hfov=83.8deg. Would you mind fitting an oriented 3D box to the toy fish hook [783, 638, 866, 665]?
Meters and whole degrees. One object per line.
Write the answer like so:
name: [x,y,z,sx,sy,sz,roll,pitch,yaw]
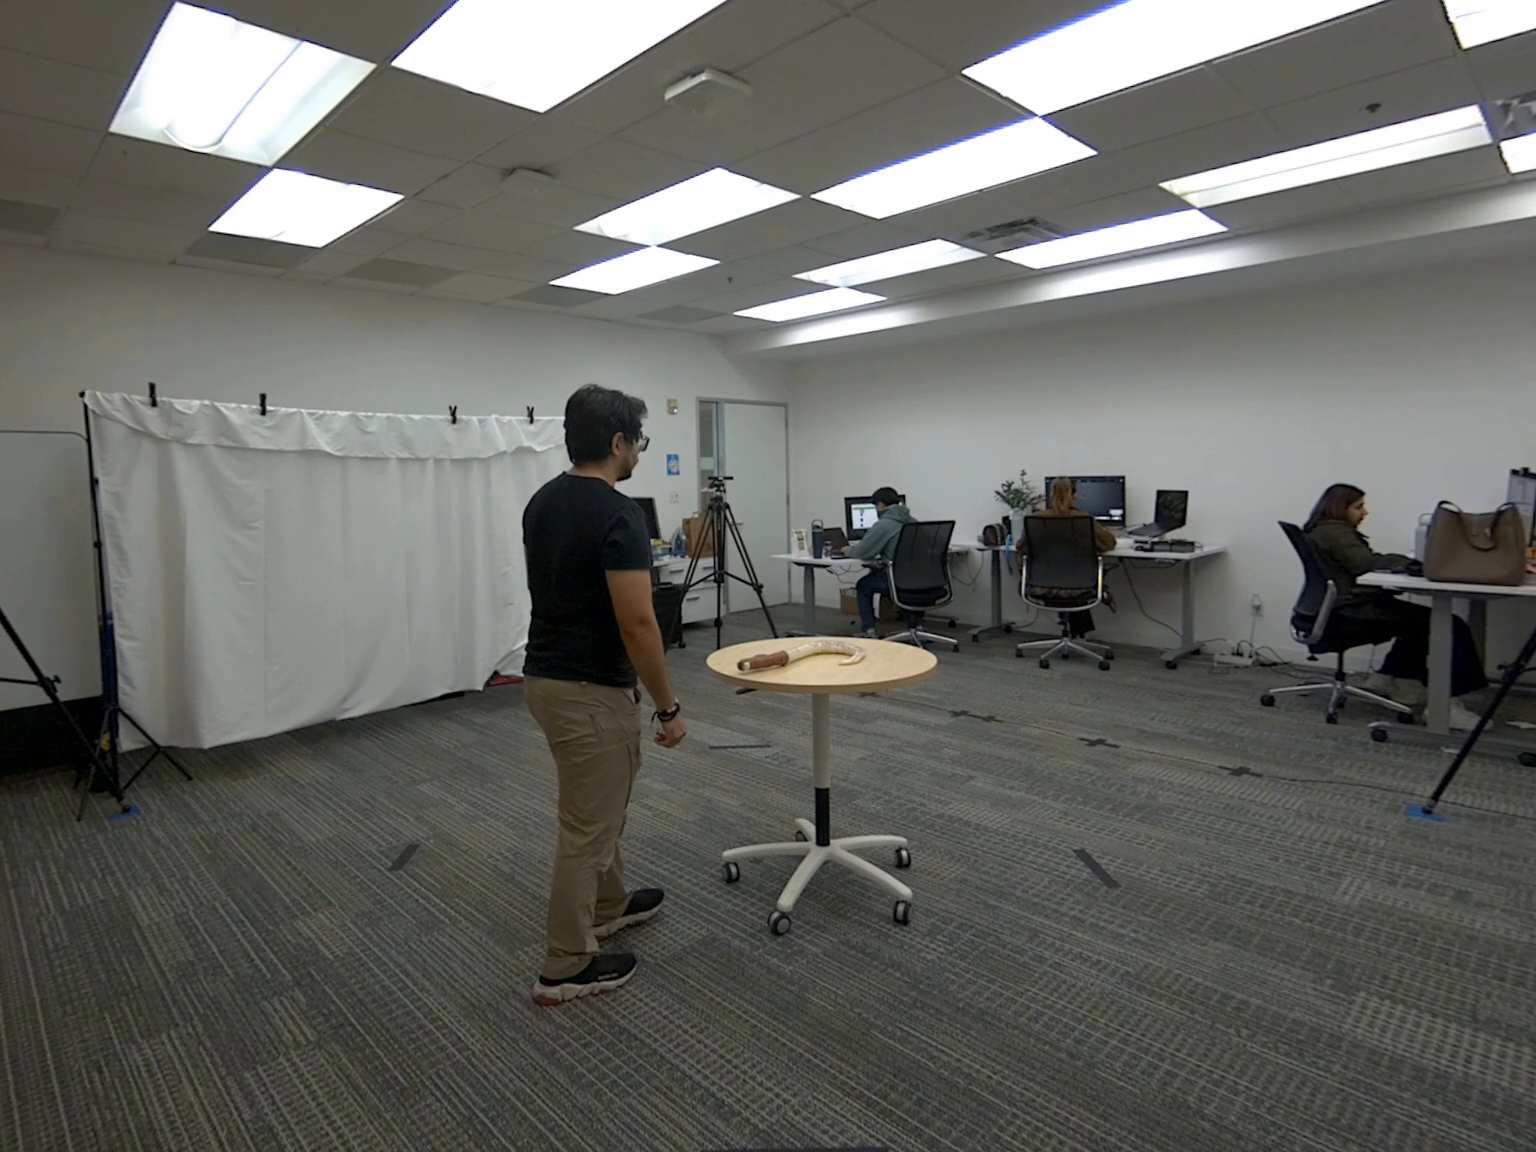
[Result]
toy fish hook: [0.129,0.266,2.778,0.493,0.048,0.231,-7,8,-44]
